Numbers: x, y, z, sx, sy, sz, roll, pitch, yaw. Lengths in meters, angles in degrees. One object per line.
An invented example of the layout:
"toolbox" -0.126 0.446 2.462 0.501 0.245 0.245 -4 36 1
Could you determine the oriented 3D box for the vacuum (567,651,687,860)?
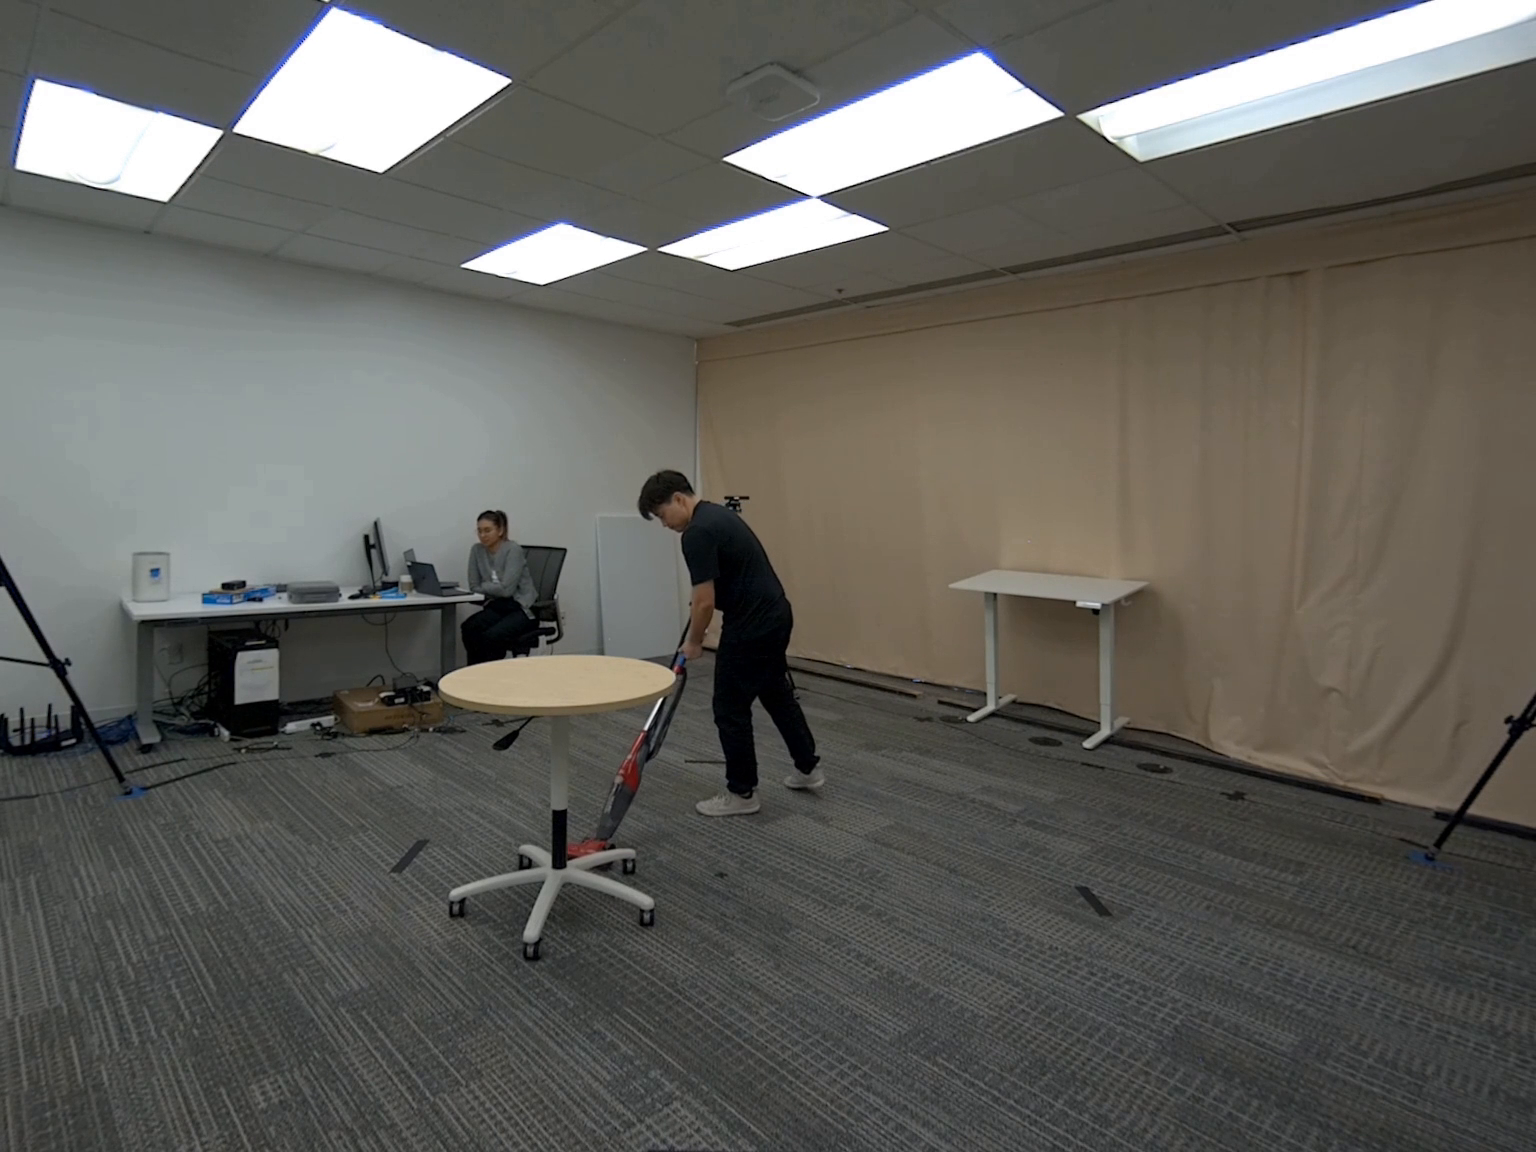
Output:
"vacuum" -0.500 0.676 3.539 0.258 0.140 1.058 3 47 28
